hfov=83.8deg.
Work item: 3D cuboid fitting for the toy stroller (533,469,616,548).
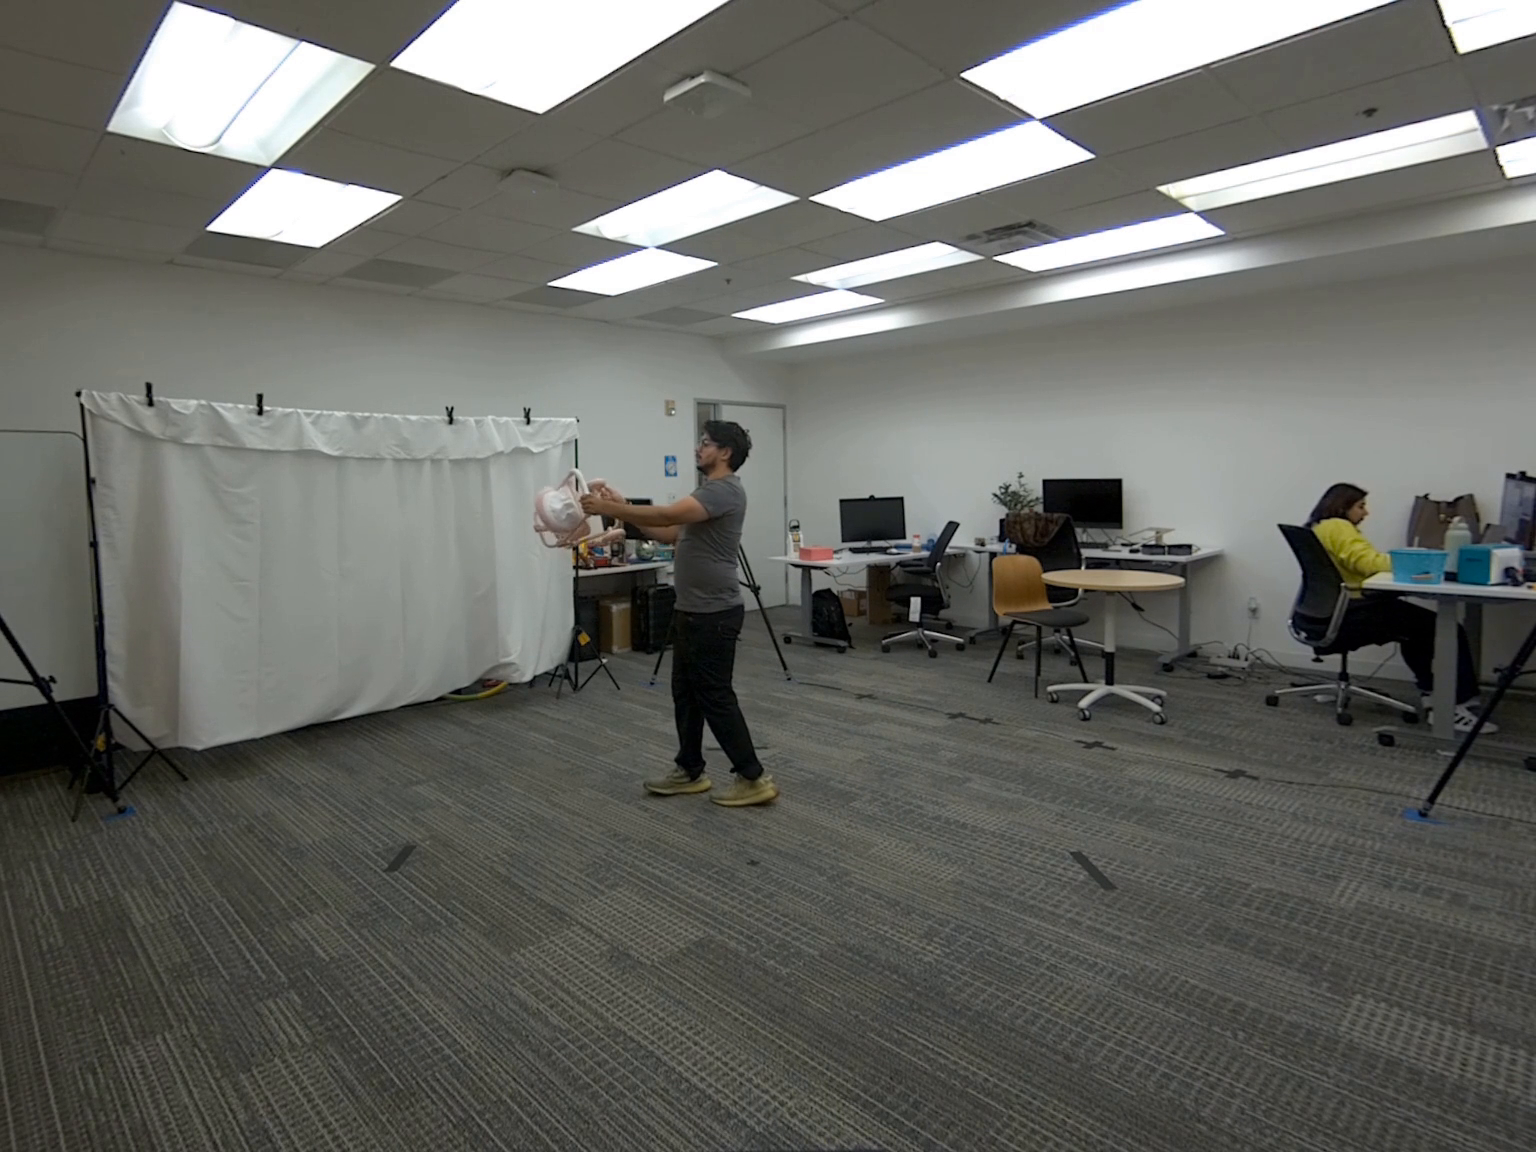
[{"bbox_3d":[-0.838,-0.265,3.623,0.342,0.285,0.526,-19,-9,5],"label":"toy stroller"}]
